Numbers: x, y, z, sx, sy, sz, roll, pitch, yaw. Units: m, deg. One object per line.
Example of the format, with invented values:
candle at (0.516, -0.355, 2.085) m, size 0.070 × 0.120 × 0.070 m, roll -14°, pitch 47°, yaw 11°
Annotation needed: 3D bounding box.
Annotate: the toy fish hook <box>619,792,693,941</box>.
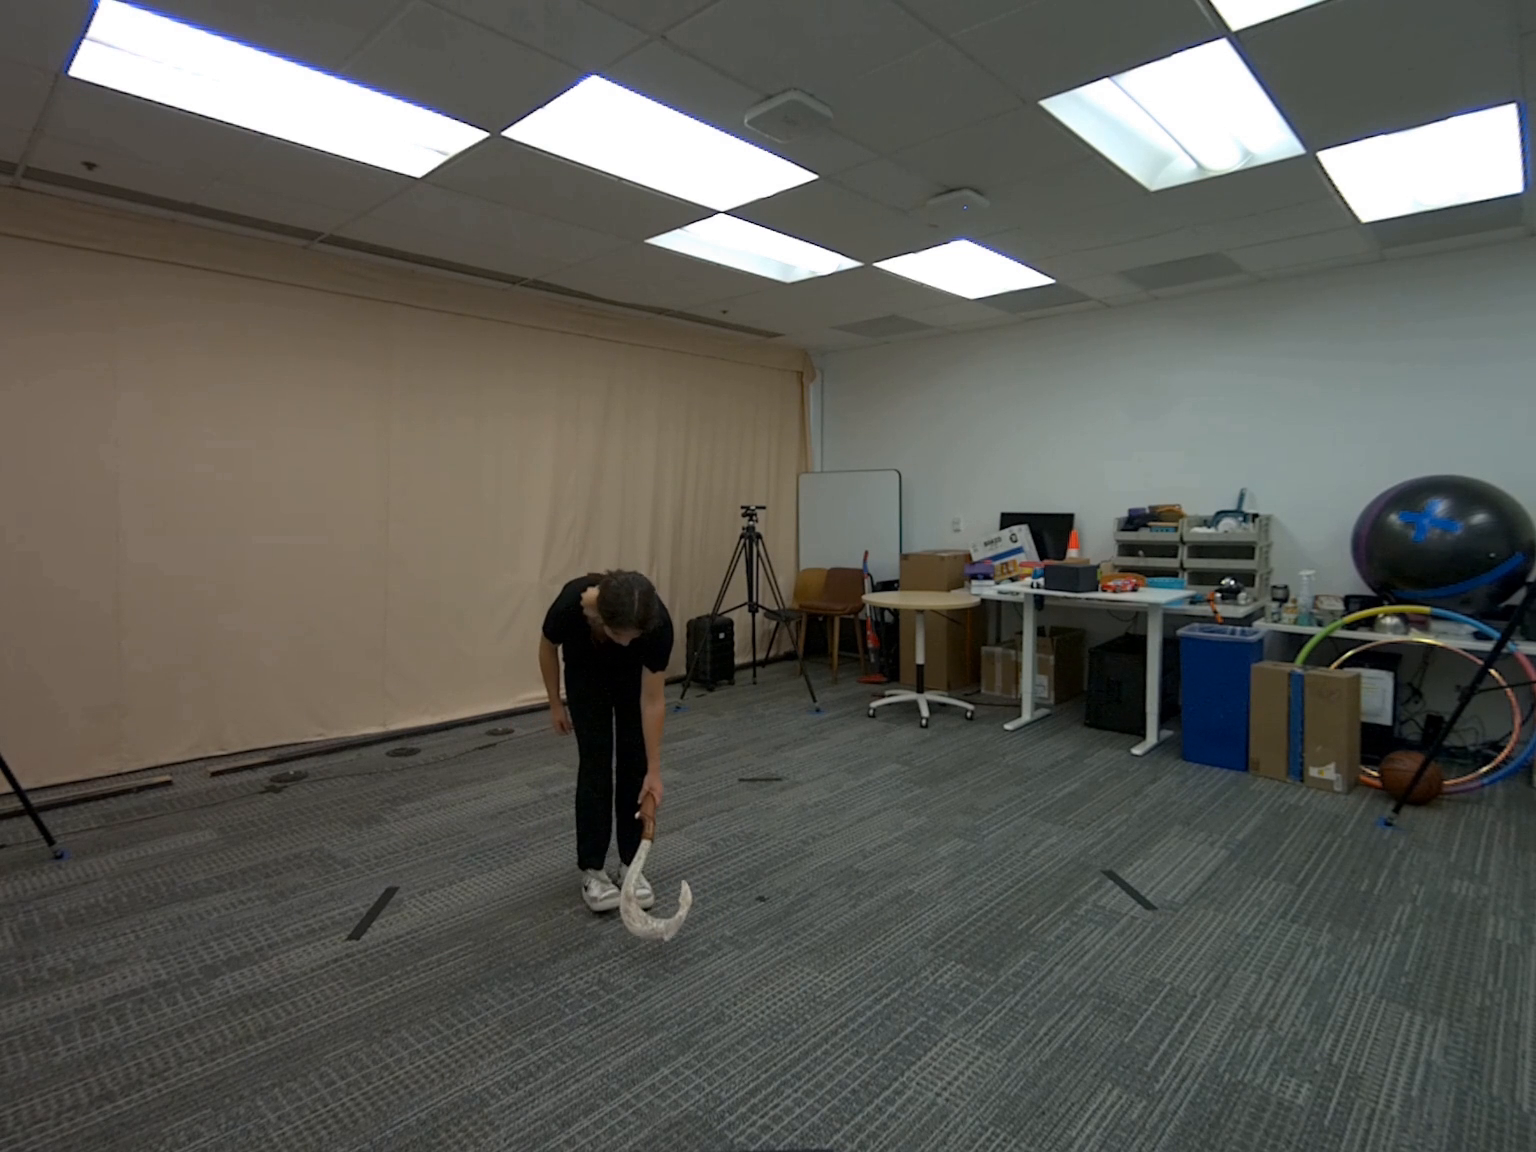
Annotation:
toy fish hook at (-0.346, 0.922, 2.715) m, size 0.221 × 0.048 × 0.516 m, roll 13°, pitch 43°, yaw -14°
